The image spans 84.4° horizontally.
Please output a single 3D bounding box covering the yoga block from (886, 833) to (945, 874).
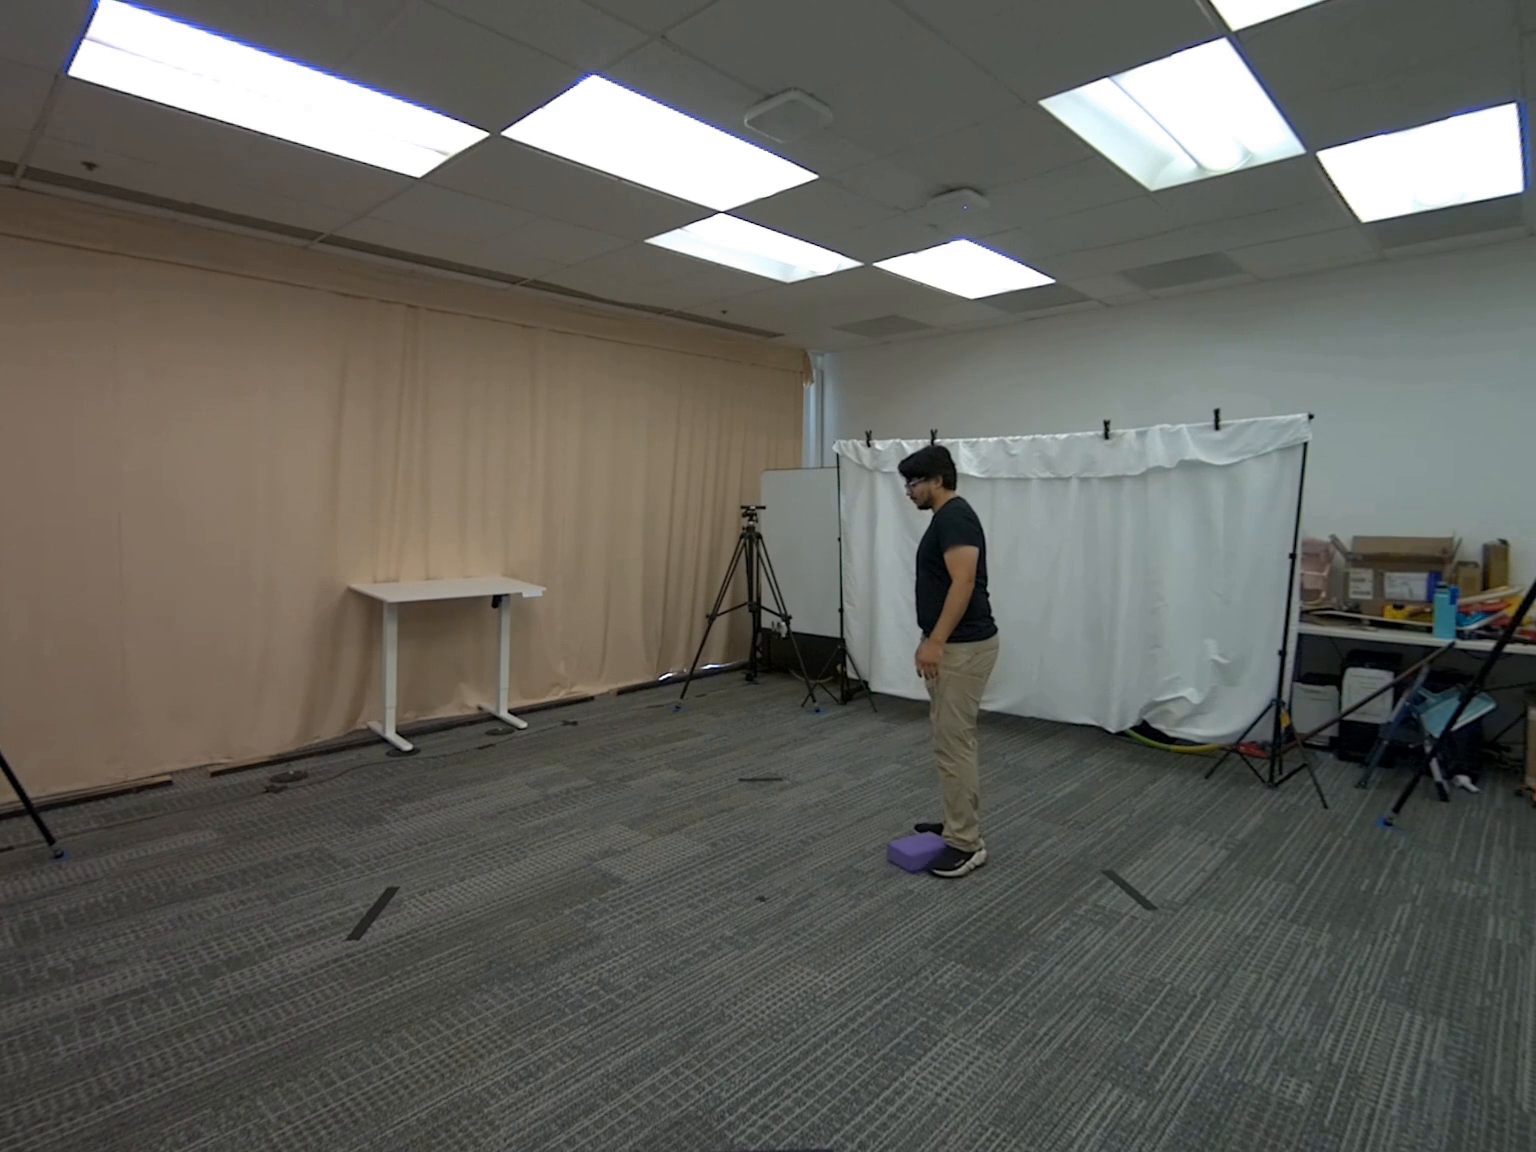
[{"bbox_3d":[0.600,1.079,3.302,0.223,0.076,0.153,-3,5,-31],"label":"yoga block"}]
